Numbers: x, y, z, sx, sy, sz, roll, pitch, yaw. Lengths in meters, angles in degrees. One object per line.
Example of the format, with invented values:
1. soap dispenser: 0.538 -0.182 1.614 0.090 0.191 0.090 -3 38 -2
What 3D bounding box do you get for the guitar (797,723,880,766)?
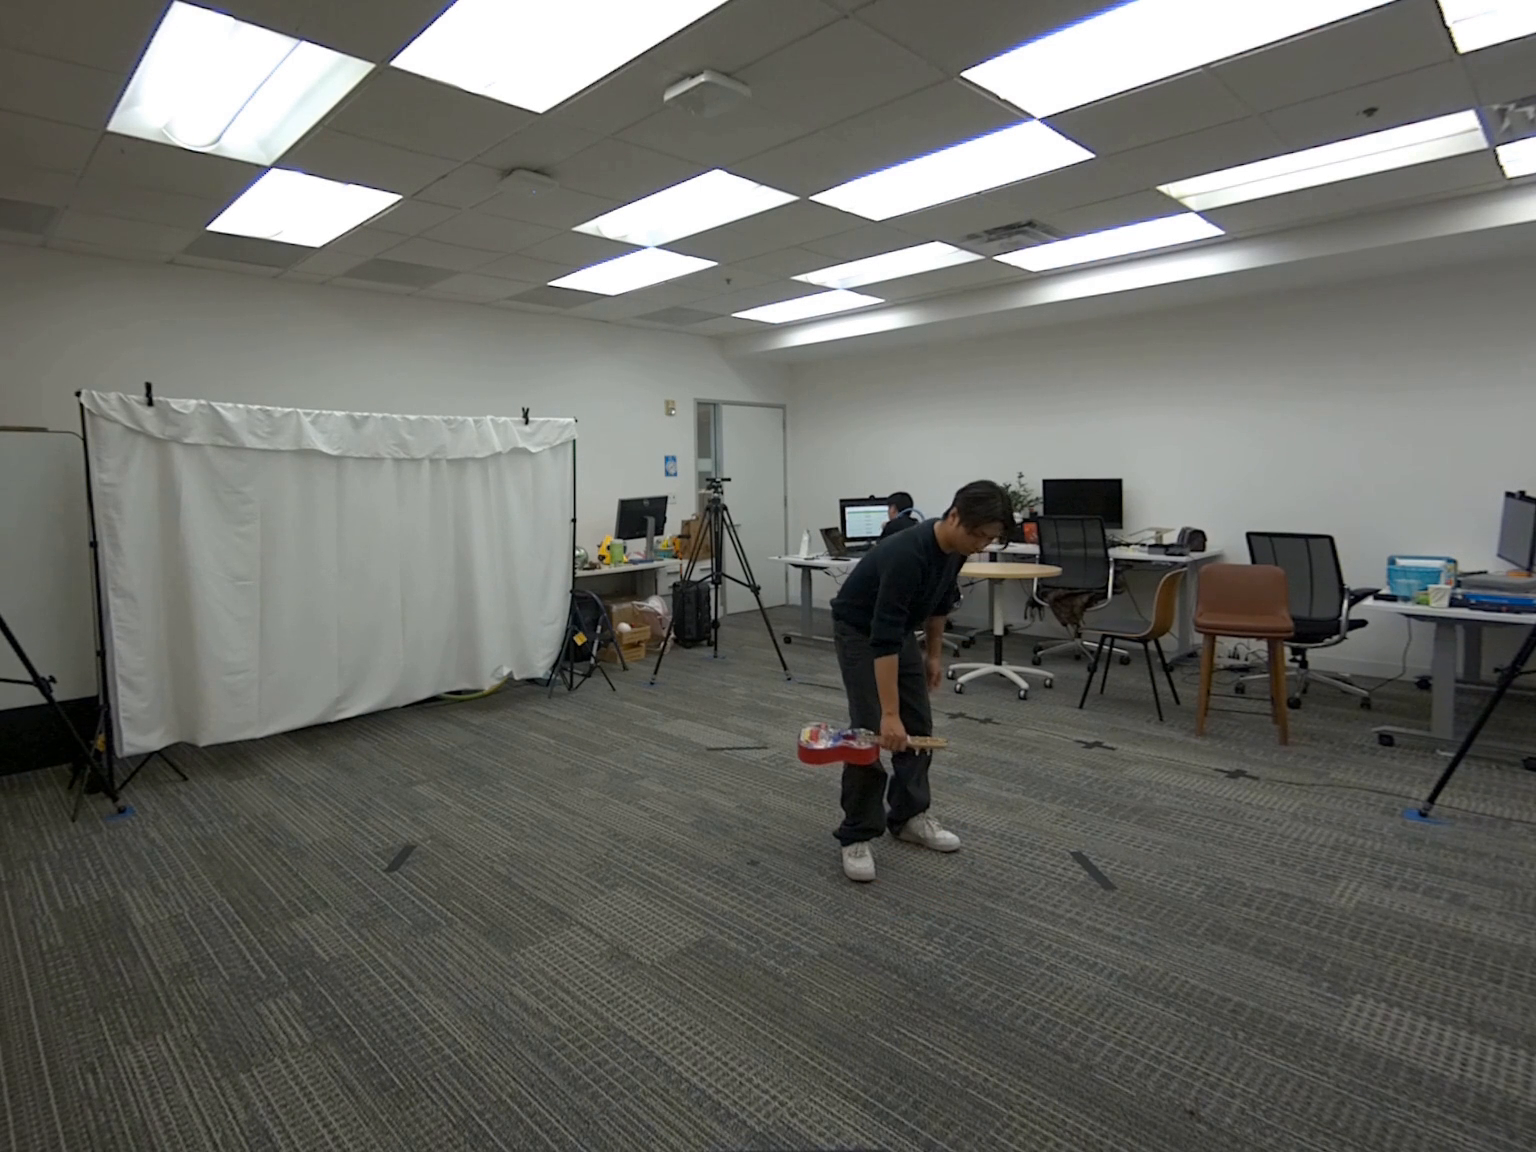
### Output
1. guitar: 0.355 0.588 2.857 0.506 0.070 0.192 3 15 16
